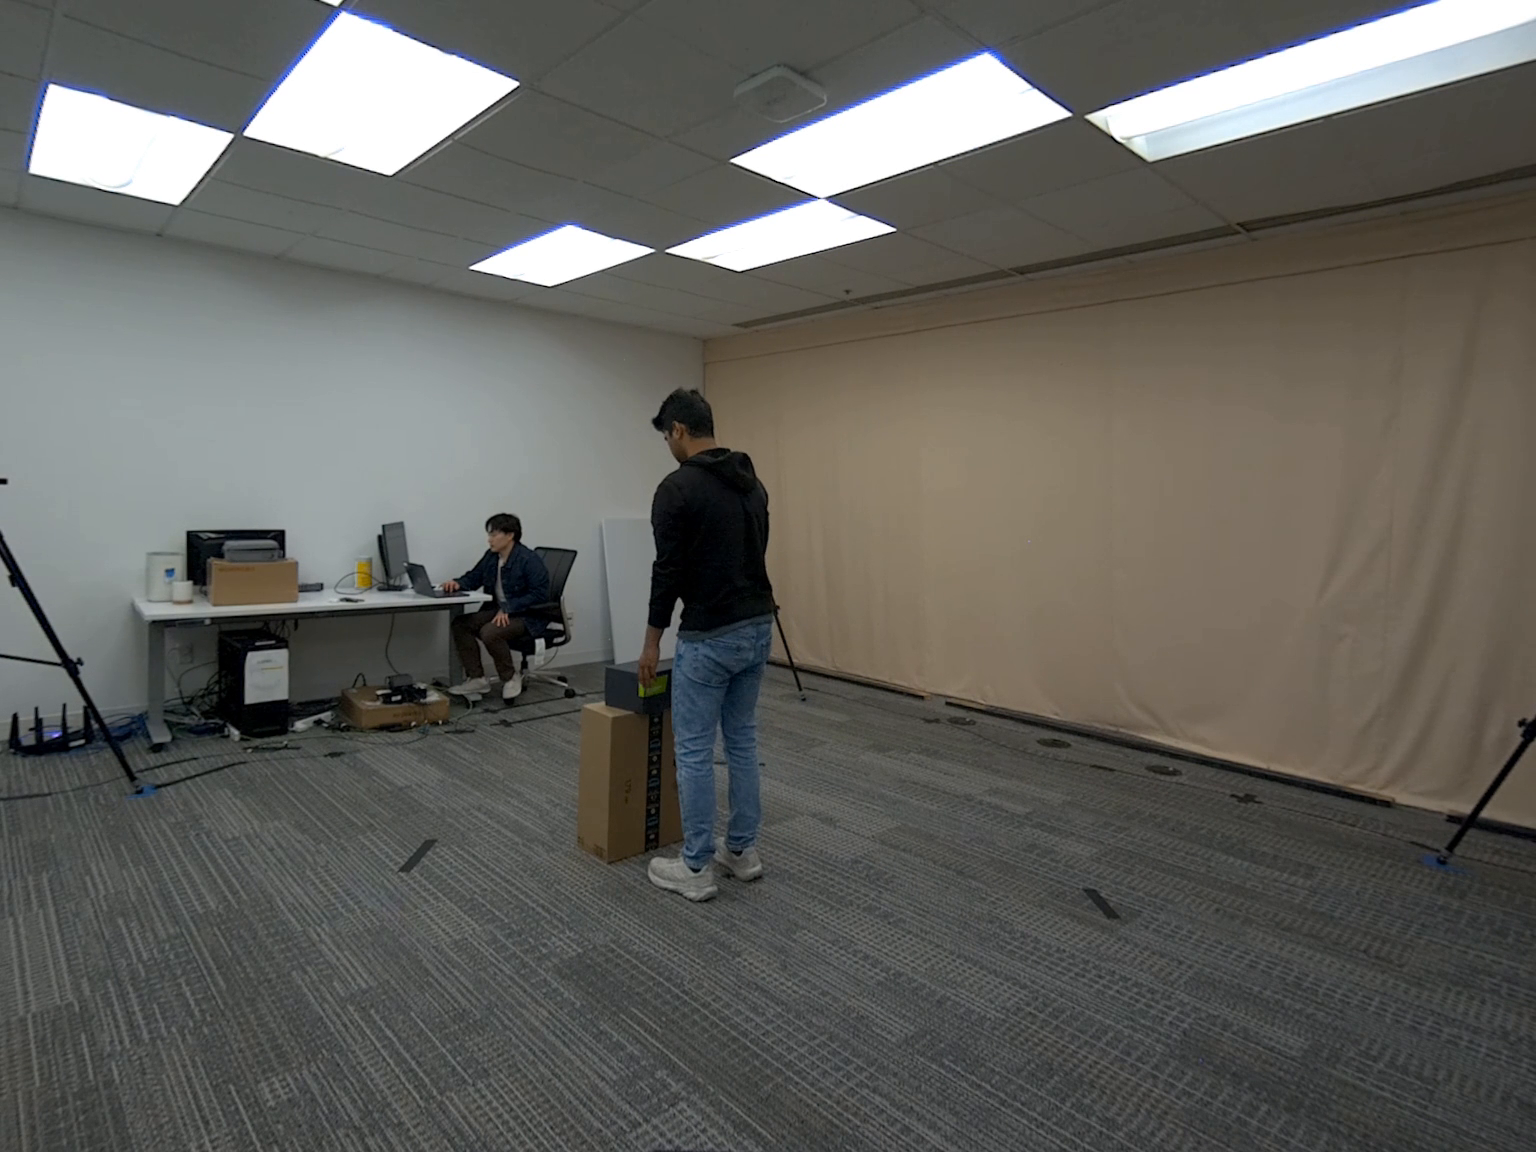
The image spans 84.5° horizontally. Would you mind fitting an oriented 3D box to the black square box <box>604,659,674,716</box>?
[{"bbox_3d":[-0.501,0.433,3.344,0.222,0.155,0.223,6,6,35],"label":"black square box"}]
